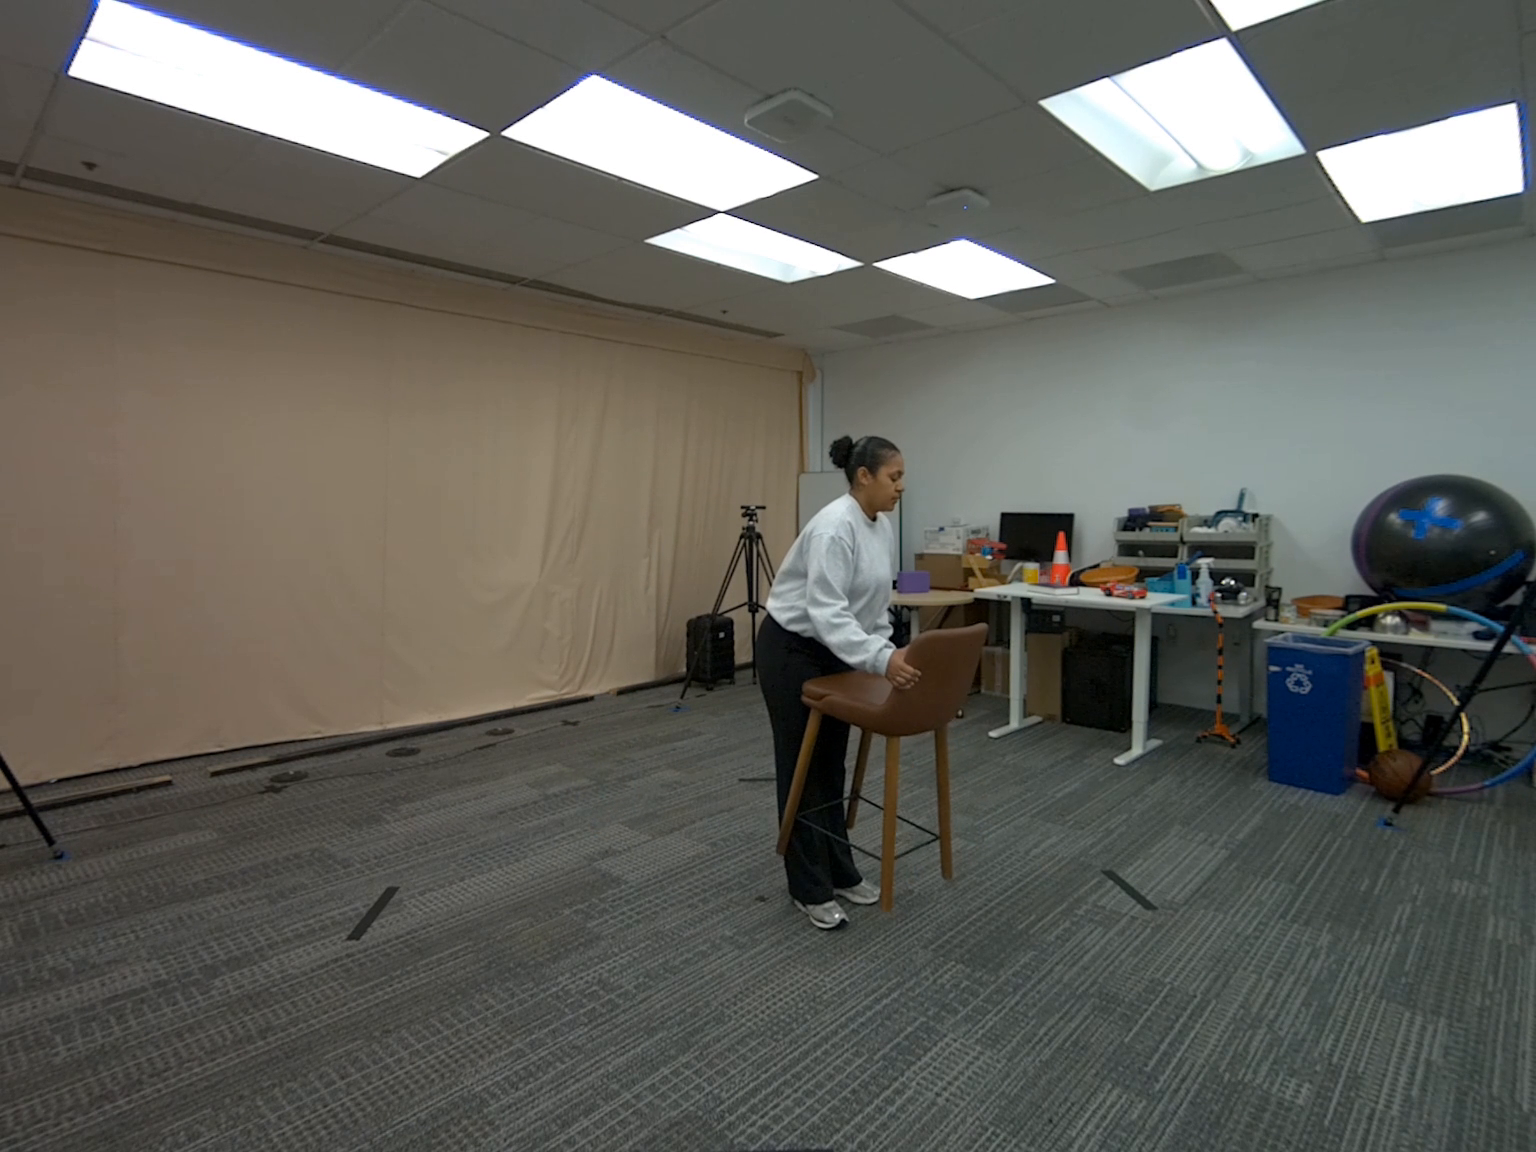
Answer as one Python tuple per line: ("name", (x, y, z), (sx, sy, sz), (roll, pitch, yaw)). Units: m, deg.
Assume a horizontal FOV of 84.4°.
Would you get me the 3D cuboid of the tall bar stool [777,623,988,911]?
("tall bar stool", (0.394, 0.554, 2.757), (0.442, 0.886, 0.484), (-2, 12, -45))
